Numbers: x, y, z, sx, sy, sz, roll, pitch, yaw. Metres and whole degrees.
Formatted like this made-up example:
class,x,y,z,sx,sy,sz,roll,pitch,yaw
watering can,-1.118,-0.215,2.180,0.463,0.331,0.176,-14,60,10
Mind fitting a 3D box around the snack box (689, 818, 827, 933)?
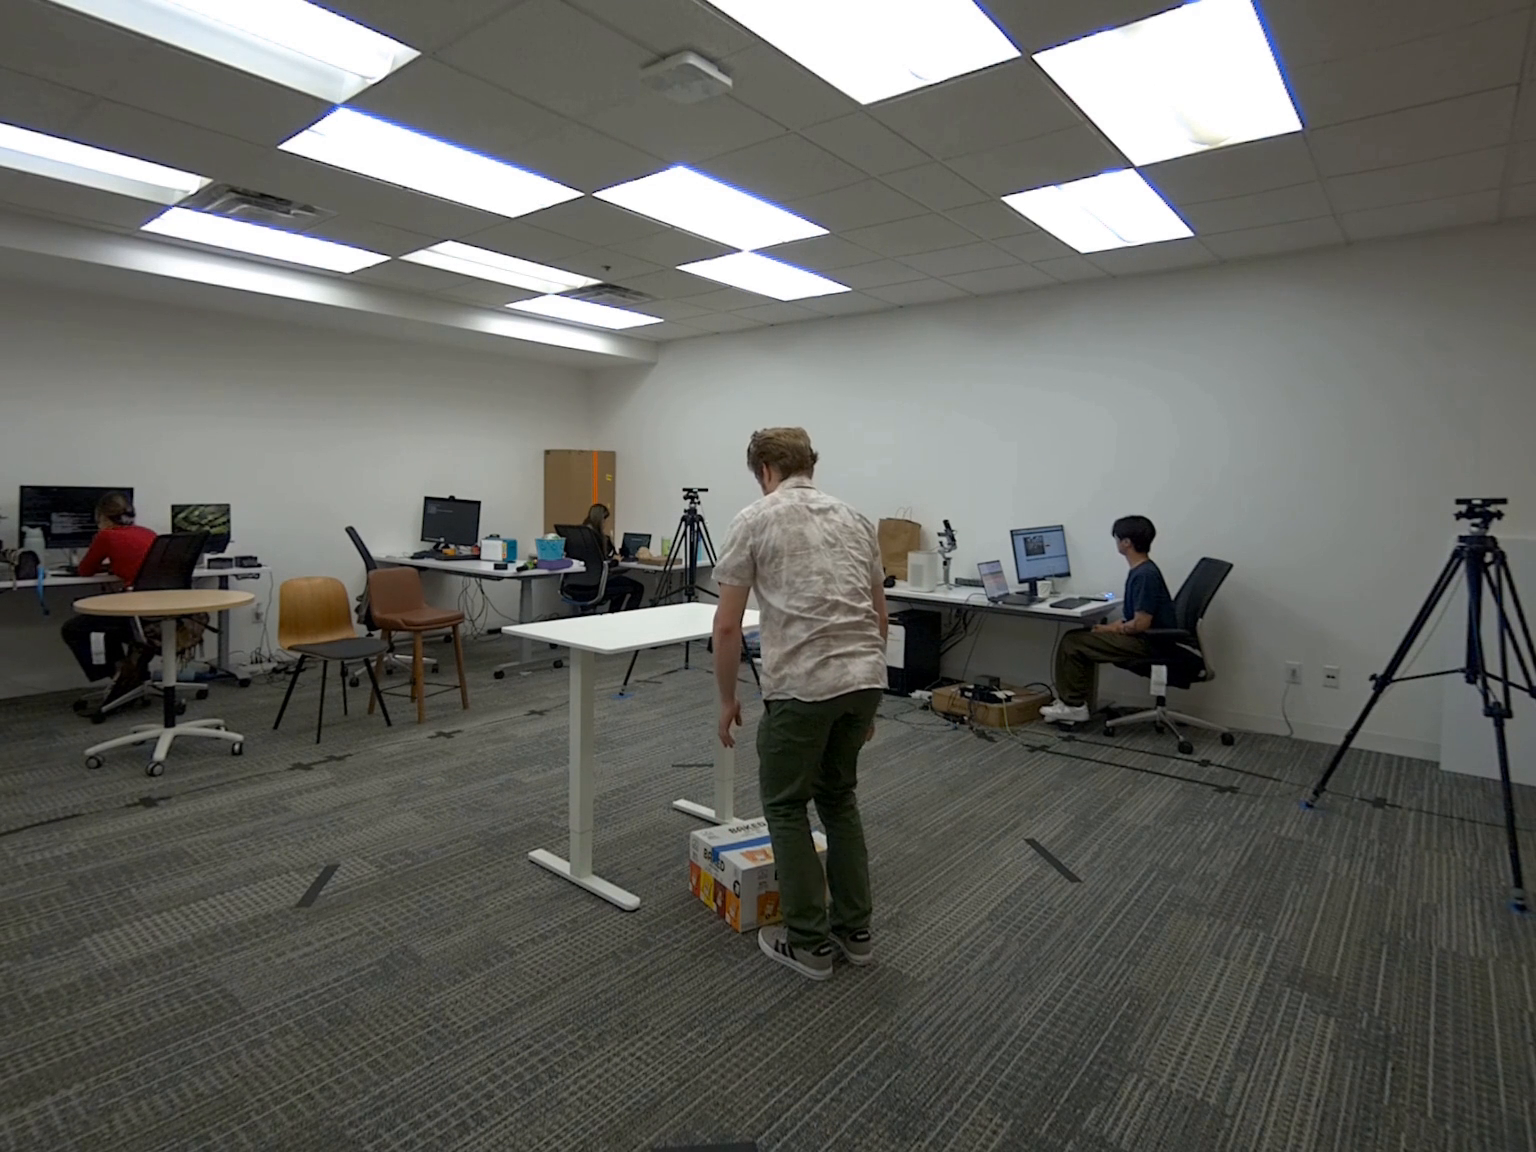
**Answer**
class,x,y,z,sx,sy,sz,roll,pitch,yaw
snack box,-0.019,0.993,2.897,0.394,0.205,0.351,-2,6,-32
